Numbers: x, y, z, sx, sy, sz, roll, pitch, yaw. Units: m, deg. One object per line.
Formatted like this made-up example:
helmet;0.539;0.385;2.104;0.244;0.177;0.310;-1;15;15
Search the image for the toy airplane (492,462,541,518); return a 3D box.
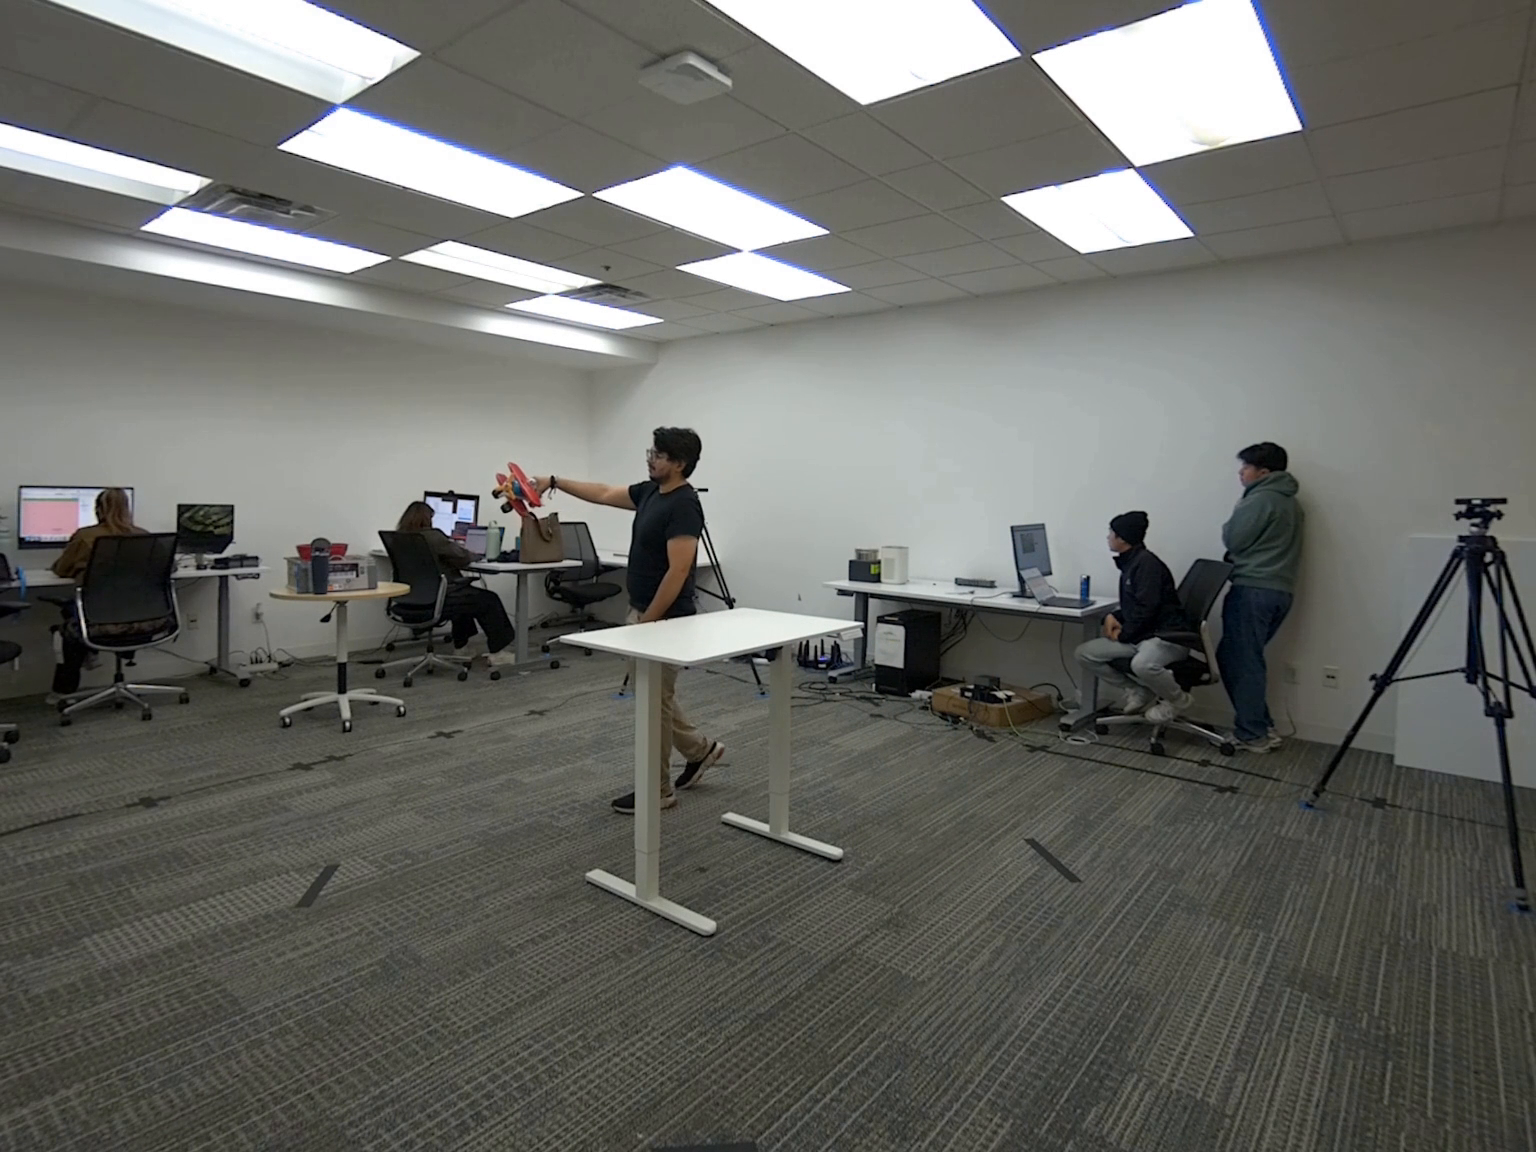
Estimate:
toy airplane;-1.143;-0.392;3.858;0.157;0.248;0.262;-43;10;27
